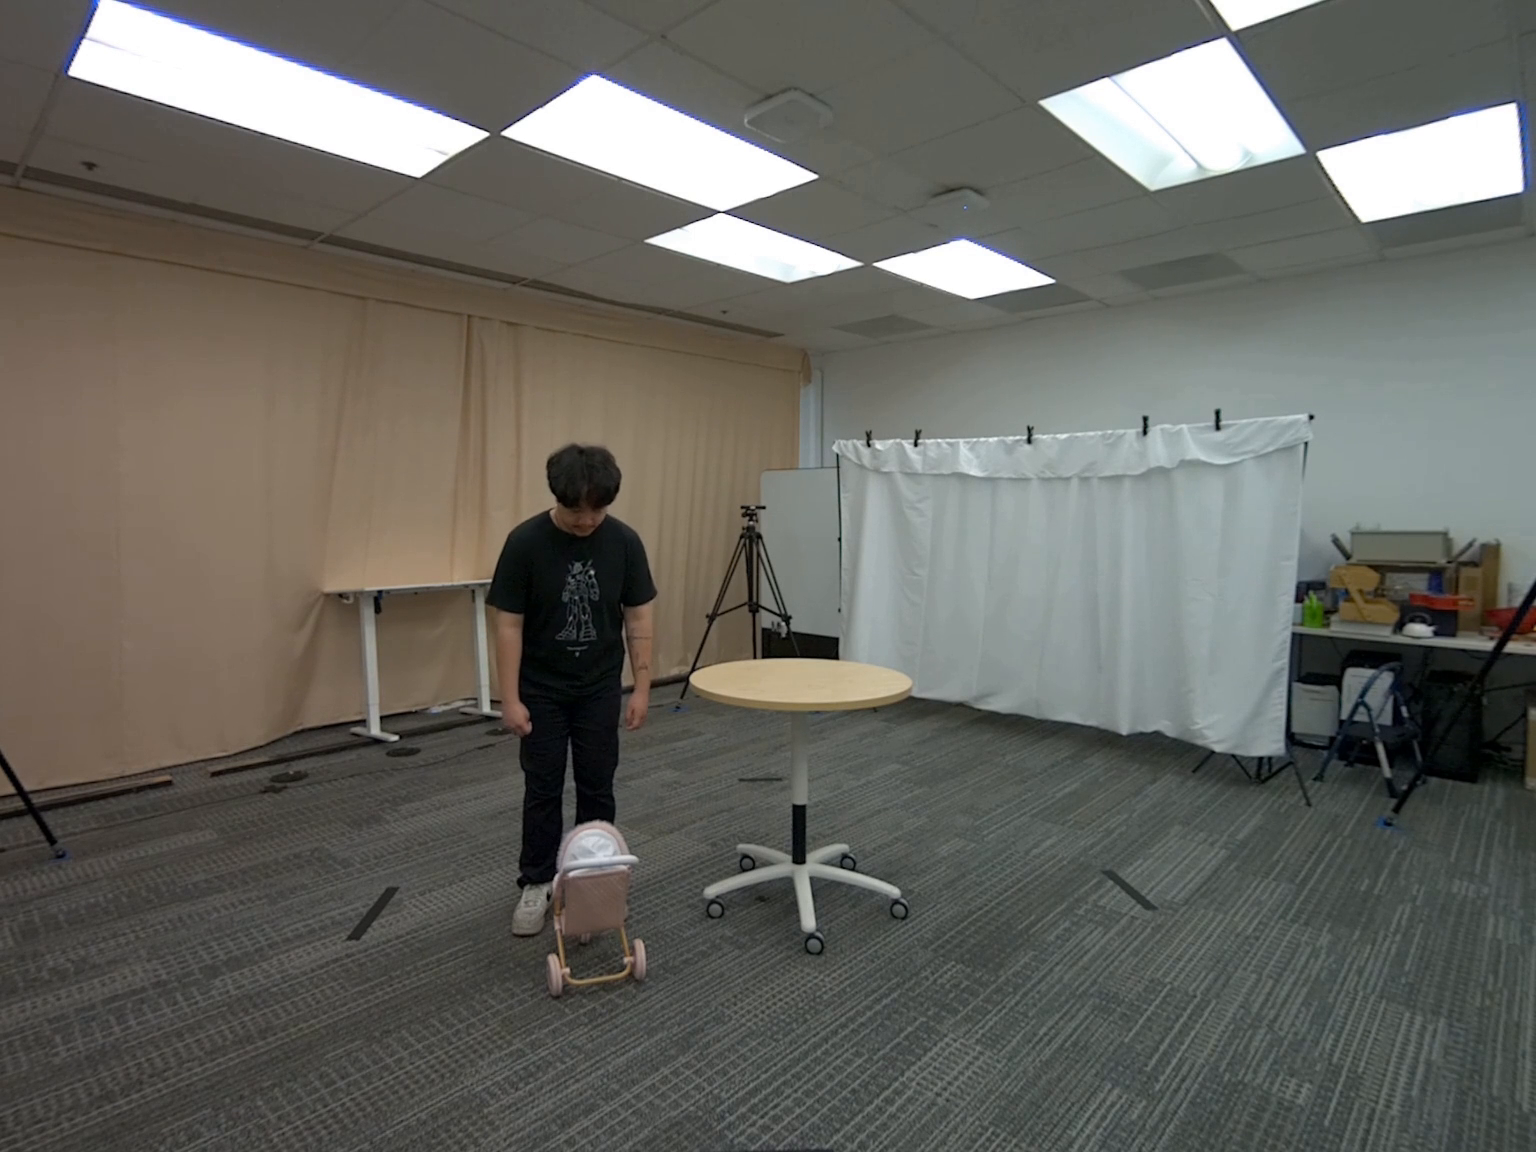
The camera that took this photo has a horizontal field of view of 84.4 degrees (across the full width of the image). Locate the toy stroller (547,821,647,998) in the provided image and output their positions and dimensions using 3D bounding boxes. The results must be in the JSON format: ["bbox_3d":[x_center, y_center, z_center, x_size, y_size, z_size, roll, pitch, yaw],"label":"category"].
[{"bbox_3d":[-0.517,0.966,2.499,0.277,0.530,0.350,-1,18,-15],"label":"toy stroller"}]
